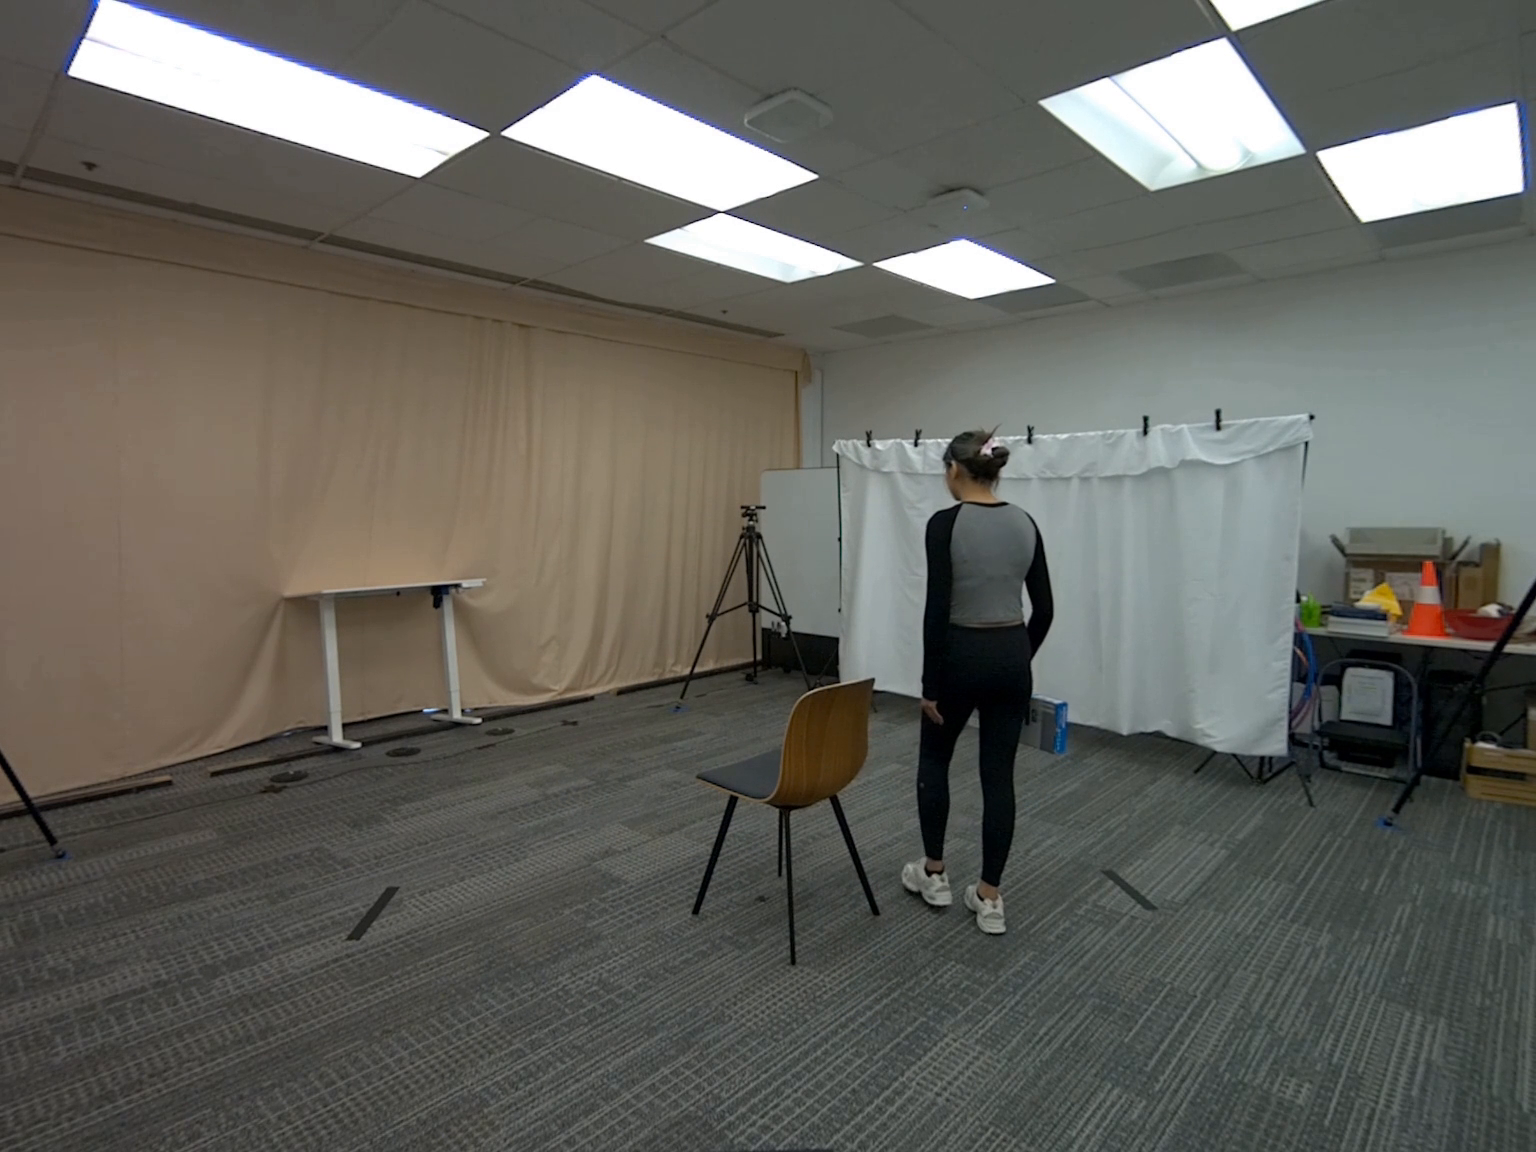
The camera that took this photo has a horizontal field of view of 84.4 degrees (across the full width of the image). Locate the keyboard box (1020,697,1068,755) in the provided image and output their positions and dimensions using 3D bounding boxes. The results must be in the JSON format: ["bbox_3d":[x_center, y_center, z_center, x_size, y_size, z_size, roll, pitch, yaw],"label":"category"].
[{"bbox_3d":[0.848,0.486,2.981,0.057,0.175,0.450,-2,6,-31],"label":"keyboard box"}]
